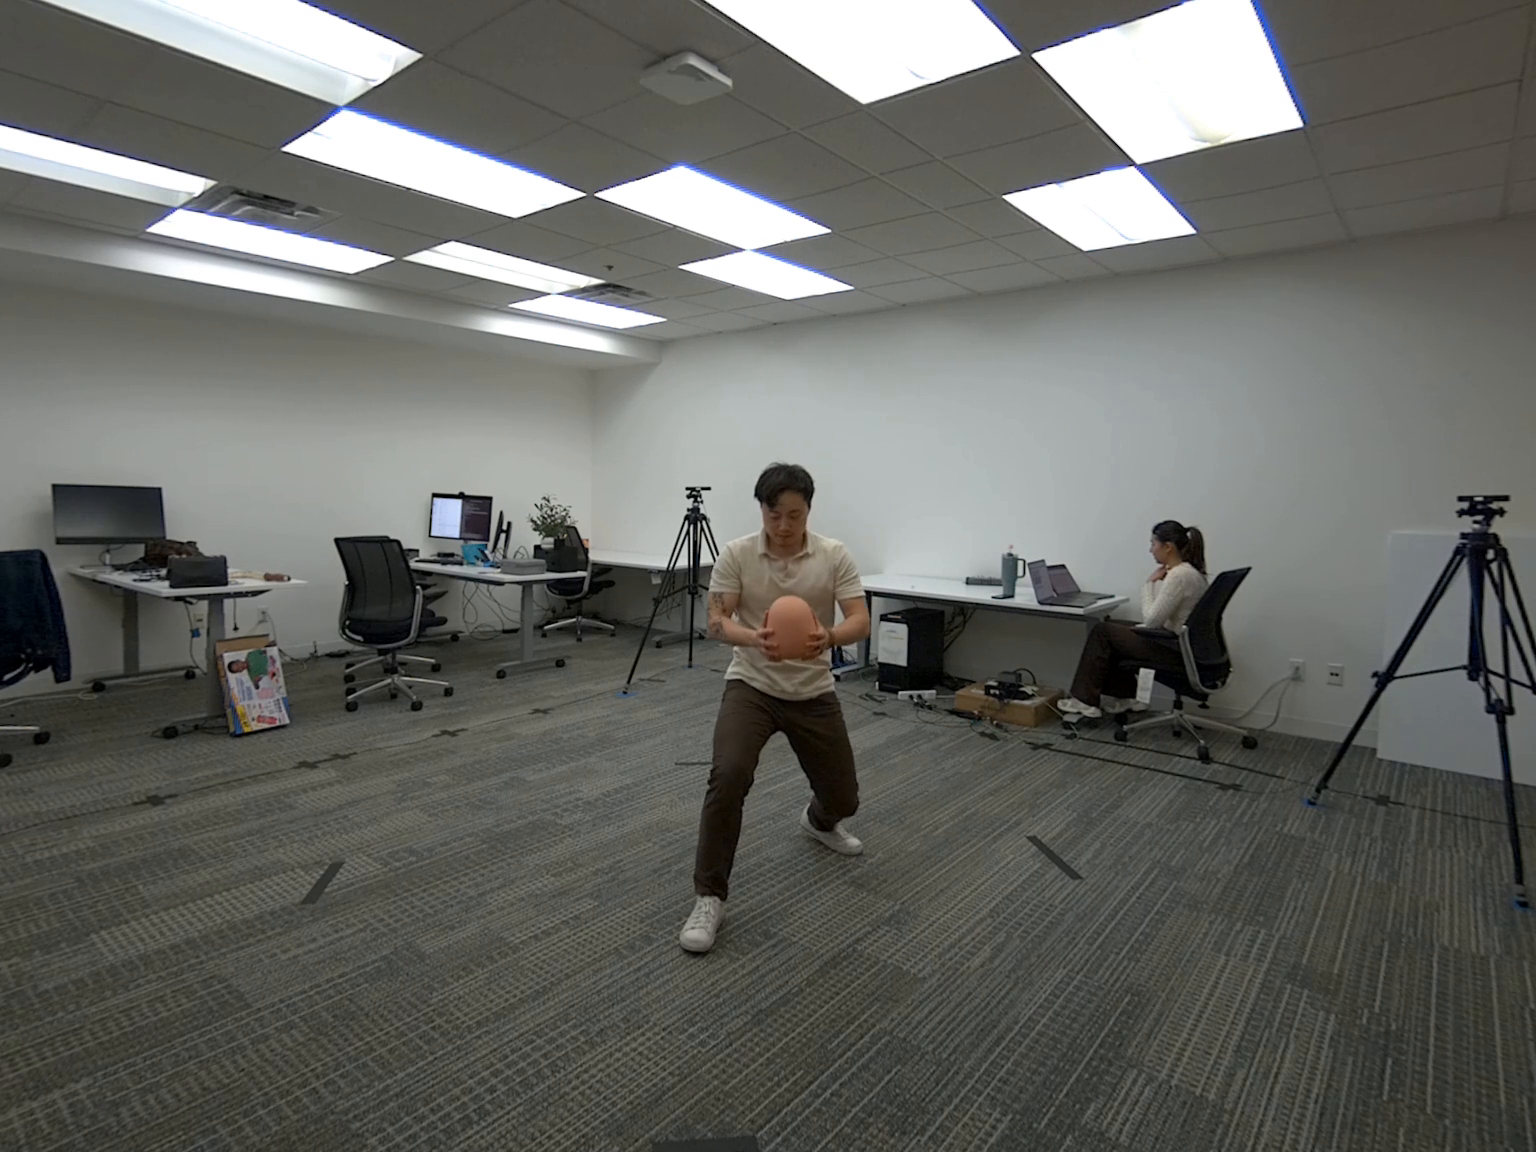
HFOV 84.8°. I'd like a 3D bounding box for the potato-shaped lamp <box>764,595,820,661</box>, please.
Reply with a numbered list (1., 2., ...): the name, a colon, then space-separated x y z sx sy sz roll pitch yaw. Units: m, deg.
1. potato-shaped lamp: 0.063 0.161 2.687 0.166 0.197 0.171 -7 7 7
